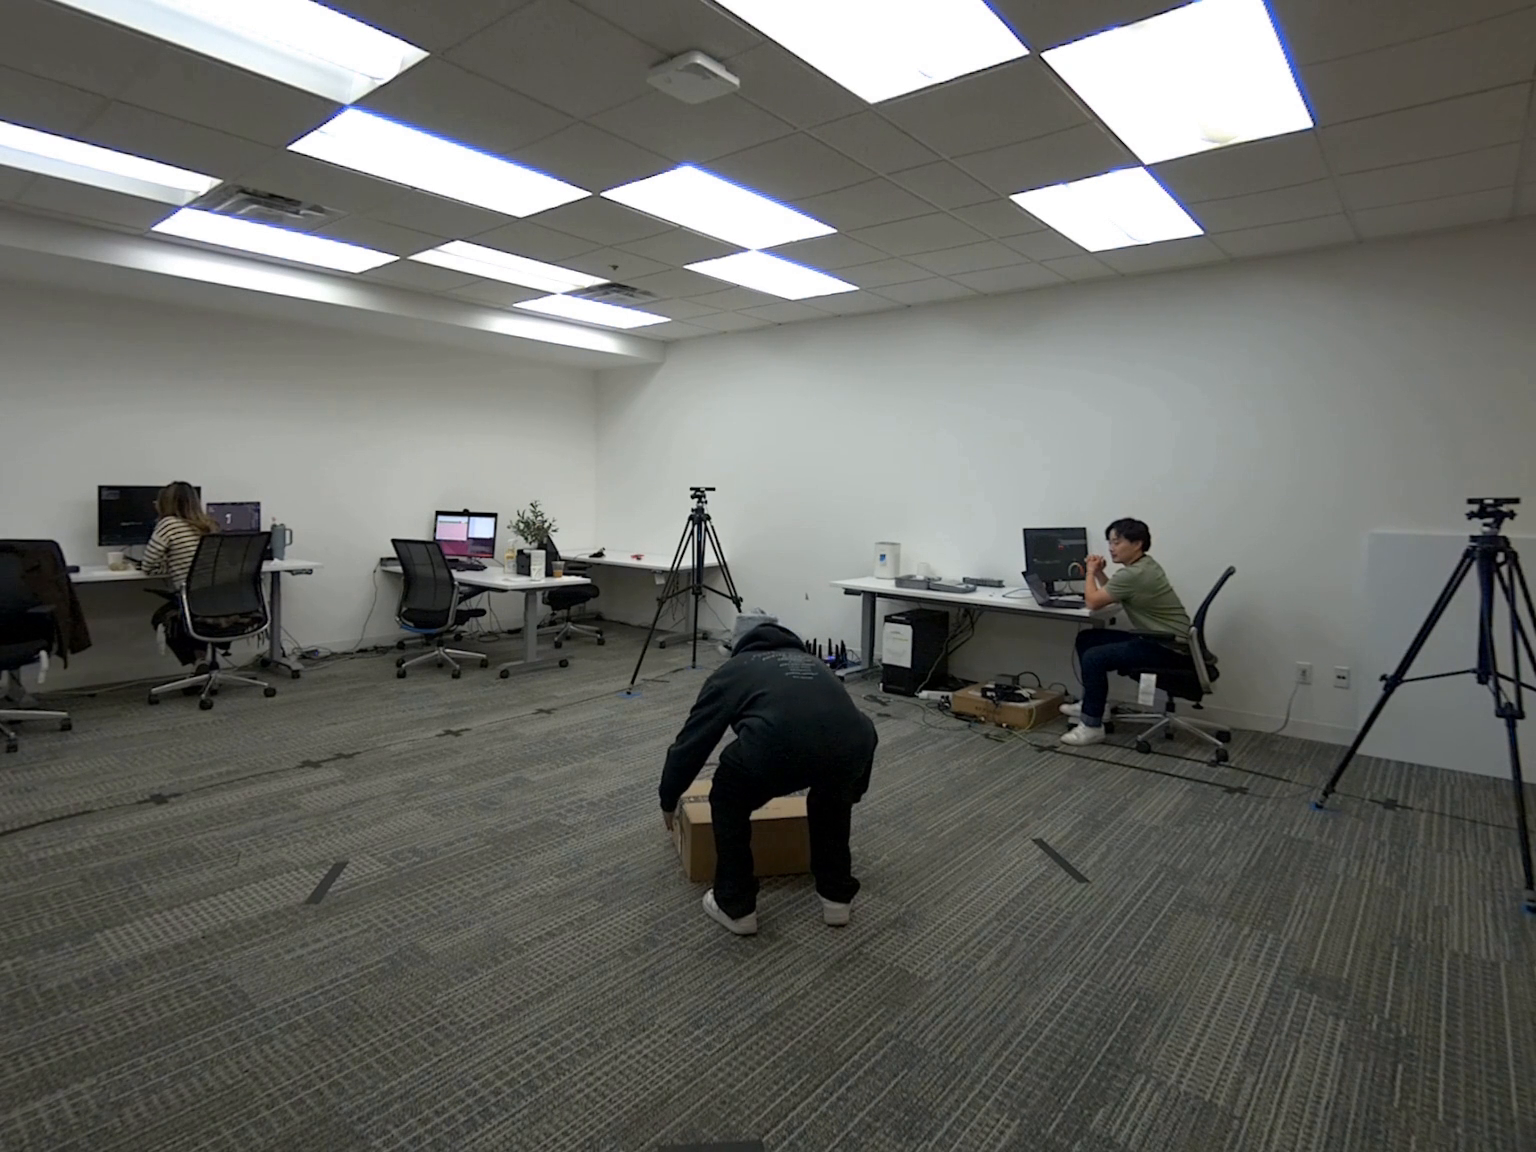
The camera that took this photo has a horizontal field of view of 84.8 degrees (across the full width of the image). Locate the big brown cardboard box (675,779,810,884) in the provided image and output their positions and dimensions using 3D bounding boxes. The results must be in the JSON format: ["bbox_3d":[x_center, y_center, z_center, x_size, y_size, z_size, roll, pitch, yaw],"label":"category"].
[{"bbox_3d":[-0.069,0.943,3.242,0.581,0.232,0.425,1,6,-13],"label":"big brown cardboard box"}]
